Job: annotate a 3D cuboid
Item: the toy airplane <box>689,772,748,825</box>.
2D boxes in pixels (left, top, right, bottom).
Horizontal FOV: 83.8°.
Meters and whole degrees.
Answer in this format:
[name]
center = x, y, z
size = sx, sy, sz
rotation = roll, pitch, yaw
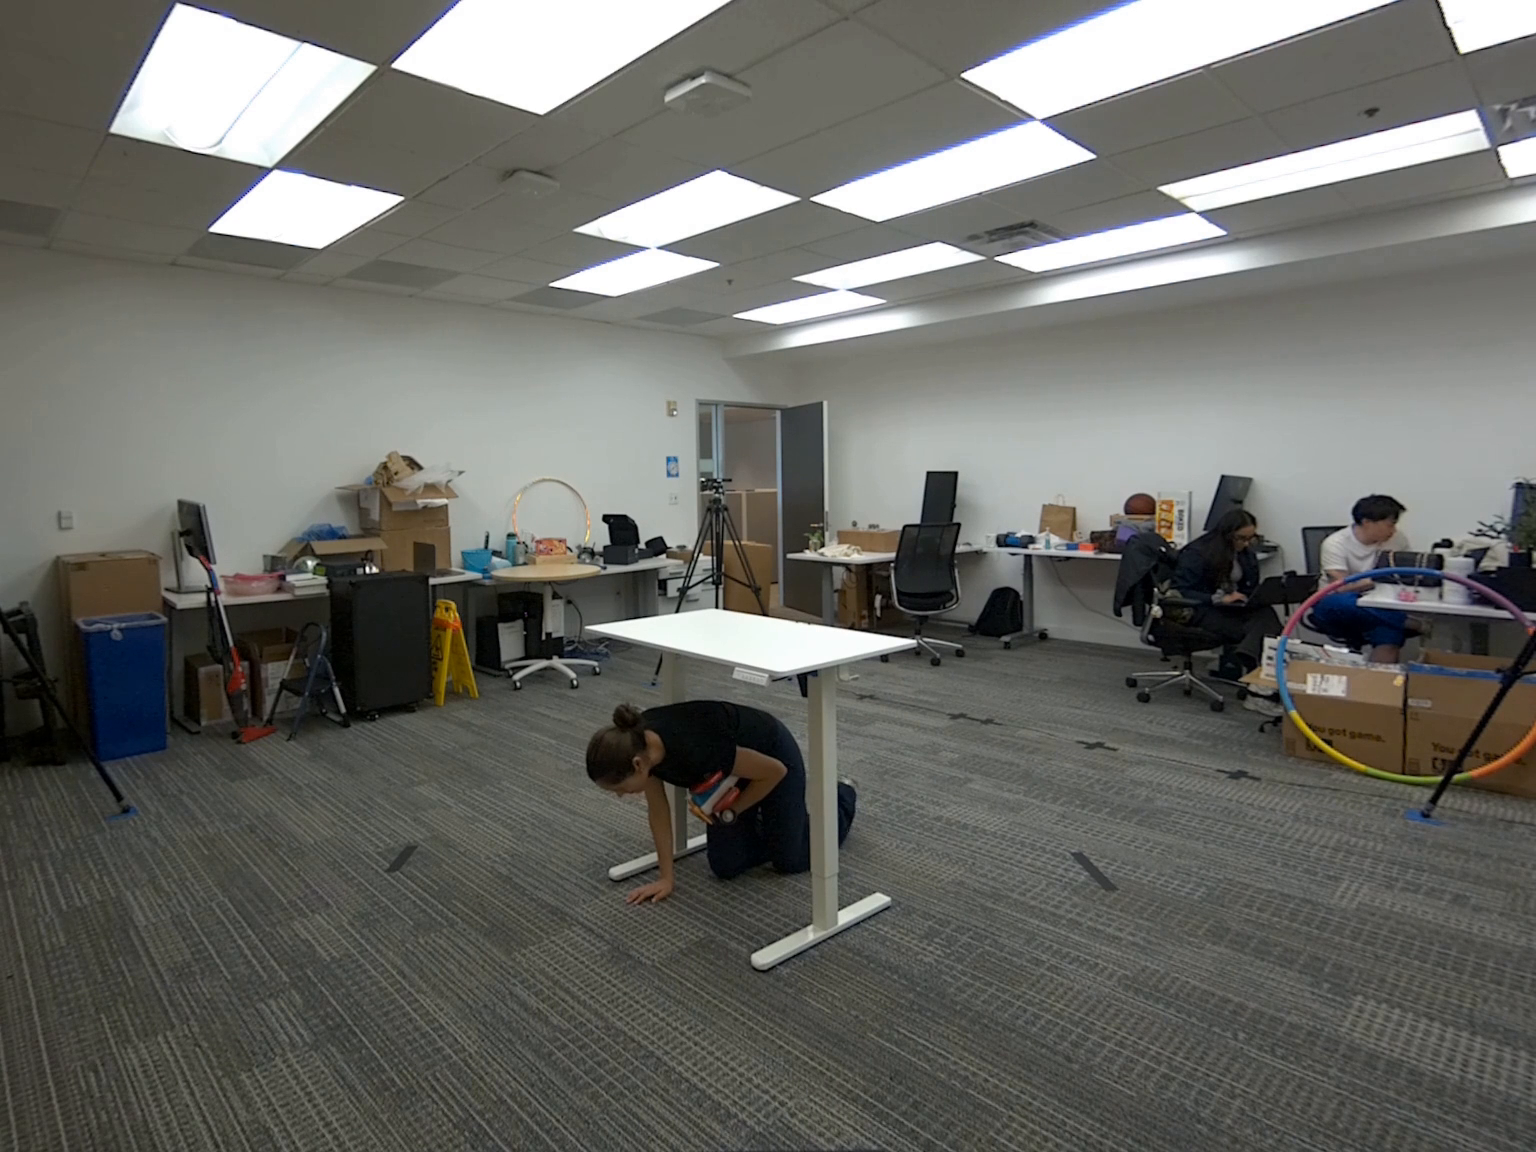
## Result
[toy airplane]
center = -0.152, 0.674, 2.769
size = 0.155, 0.250, 0.262
rotation = 33, 36, -7
